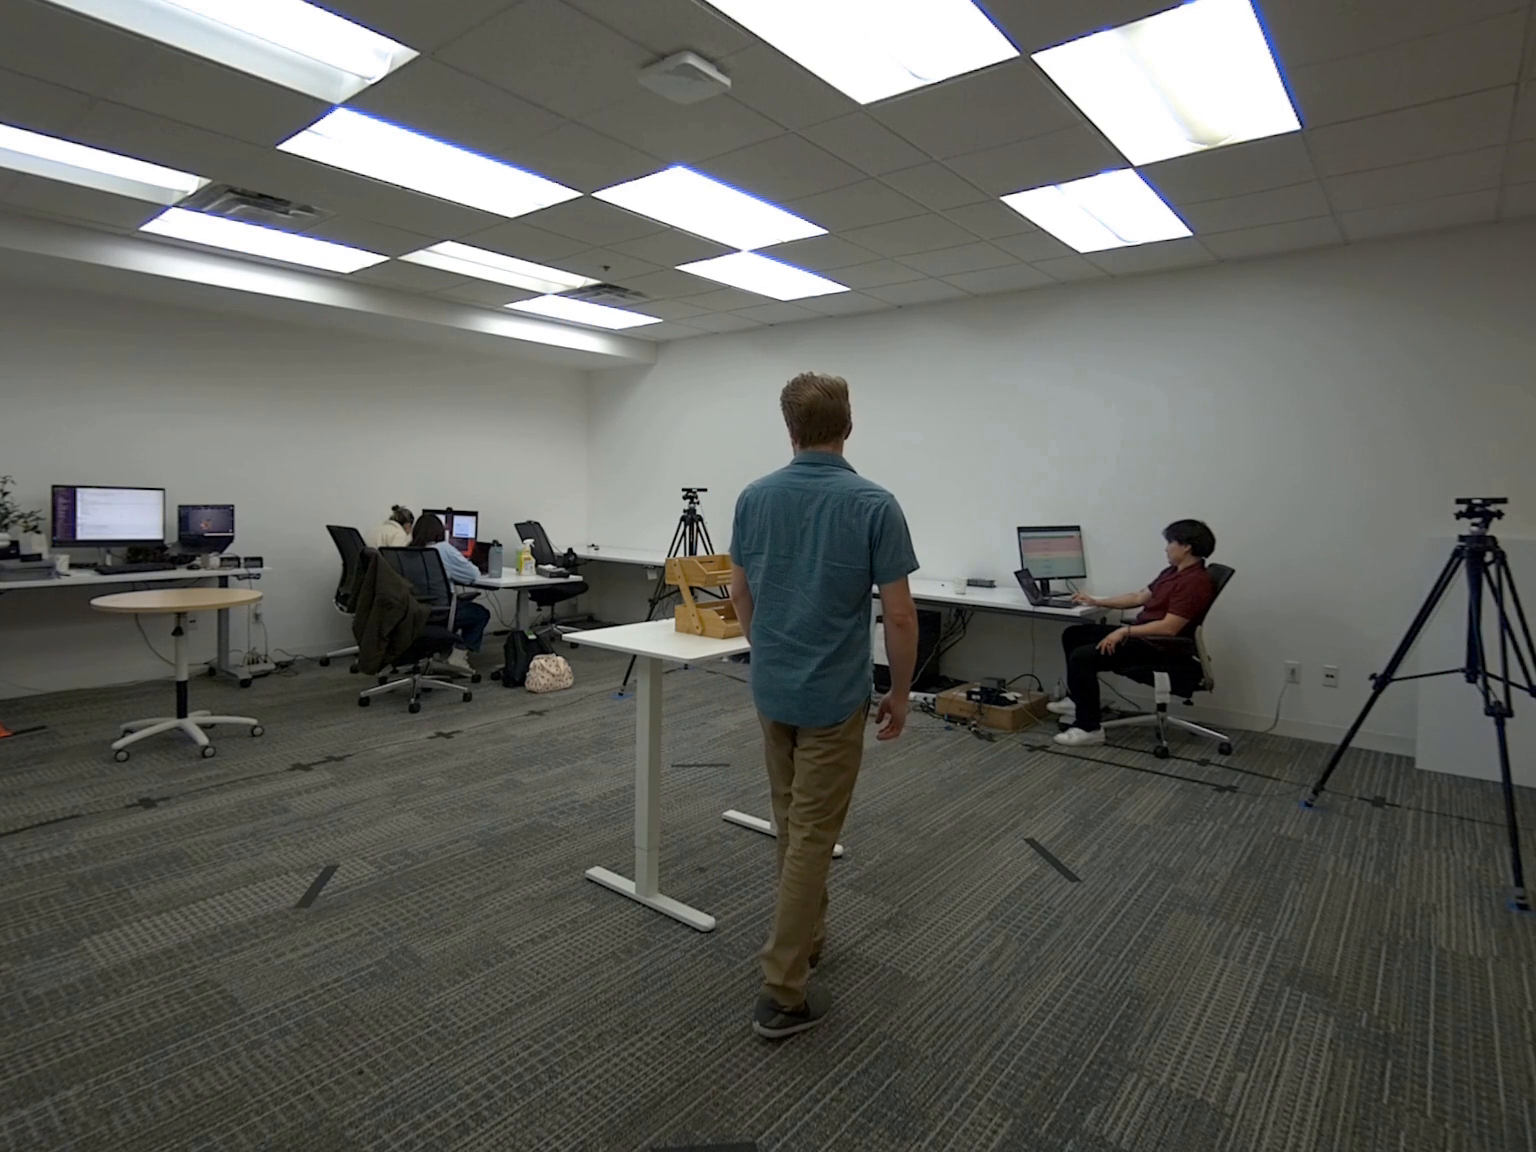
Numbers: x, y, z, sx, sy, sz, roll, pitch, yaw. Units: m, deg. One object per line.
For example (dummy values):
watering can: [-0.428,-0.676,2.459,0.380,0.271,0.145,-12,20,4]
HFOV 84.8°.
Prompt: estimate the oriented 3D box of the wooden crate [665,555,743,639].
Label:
wooden crate: [-0.168,0.060,3.061,0.312,0.272,0.315,3,5,41]
